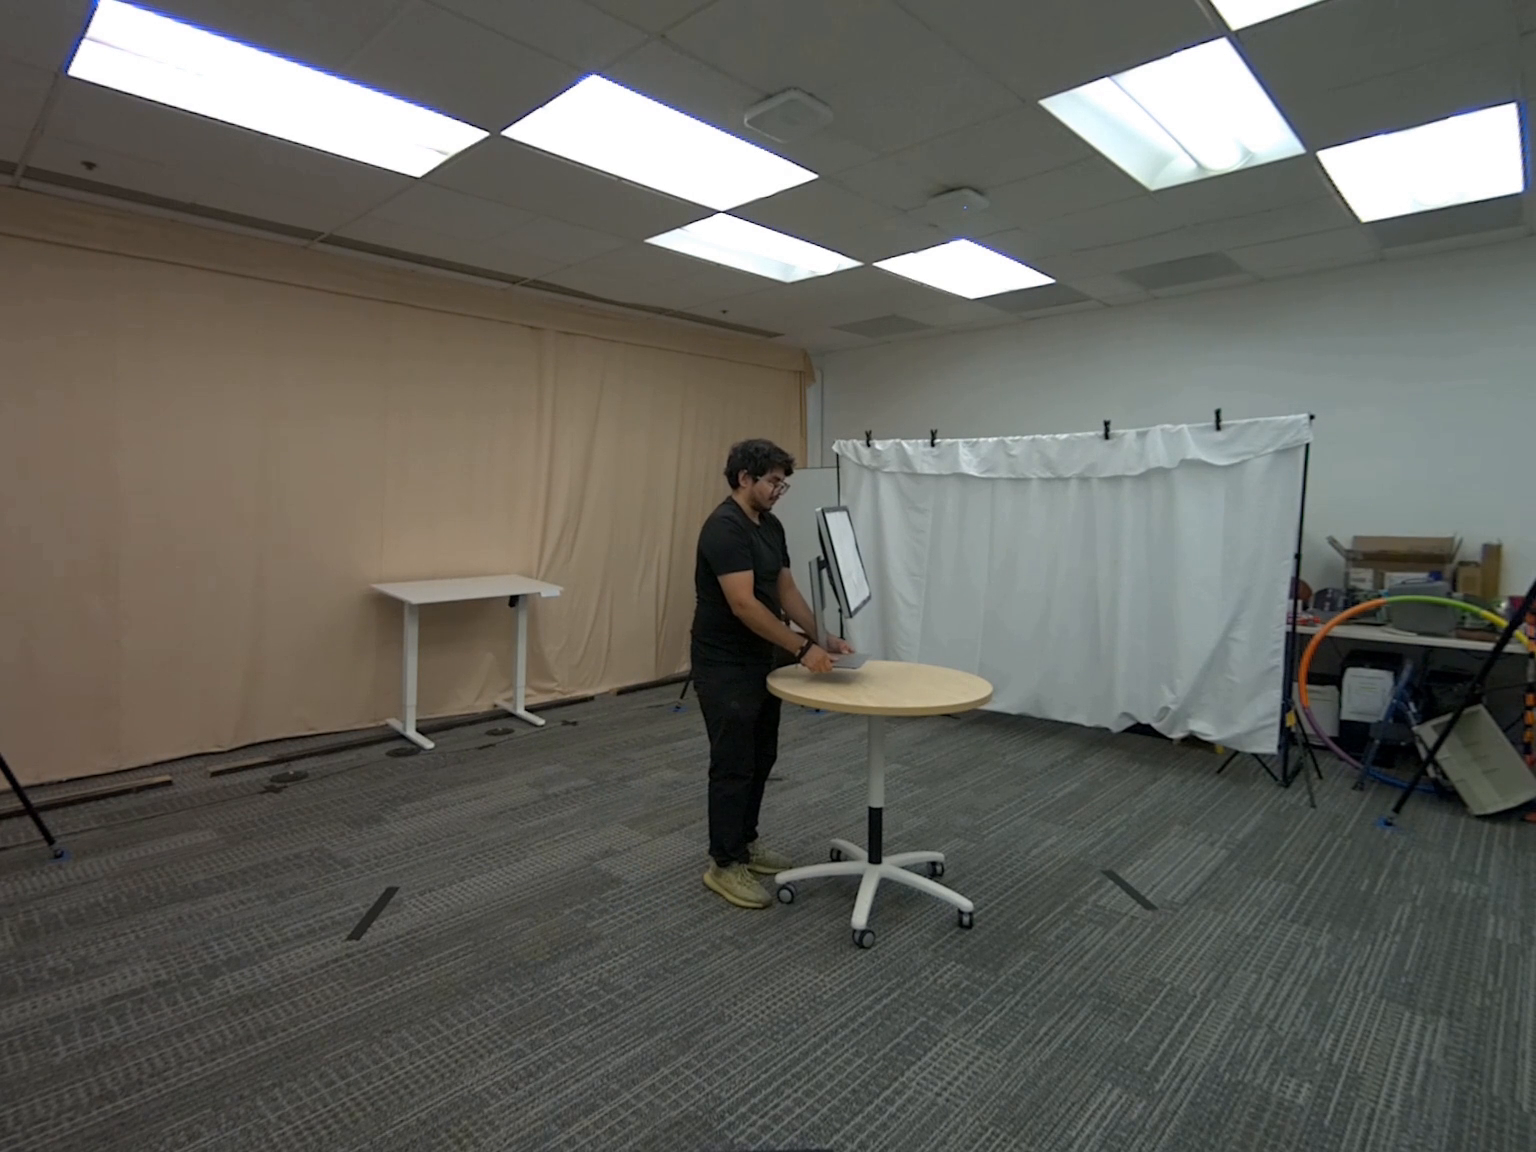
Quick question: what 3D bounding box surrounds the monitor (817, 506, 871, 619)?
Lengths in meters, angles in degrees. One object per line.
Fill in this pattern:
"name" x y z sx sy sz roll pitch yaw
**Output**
"monitor" 0.217 0.037 2.953 0.213 0.553 0.557 -7 2 15
